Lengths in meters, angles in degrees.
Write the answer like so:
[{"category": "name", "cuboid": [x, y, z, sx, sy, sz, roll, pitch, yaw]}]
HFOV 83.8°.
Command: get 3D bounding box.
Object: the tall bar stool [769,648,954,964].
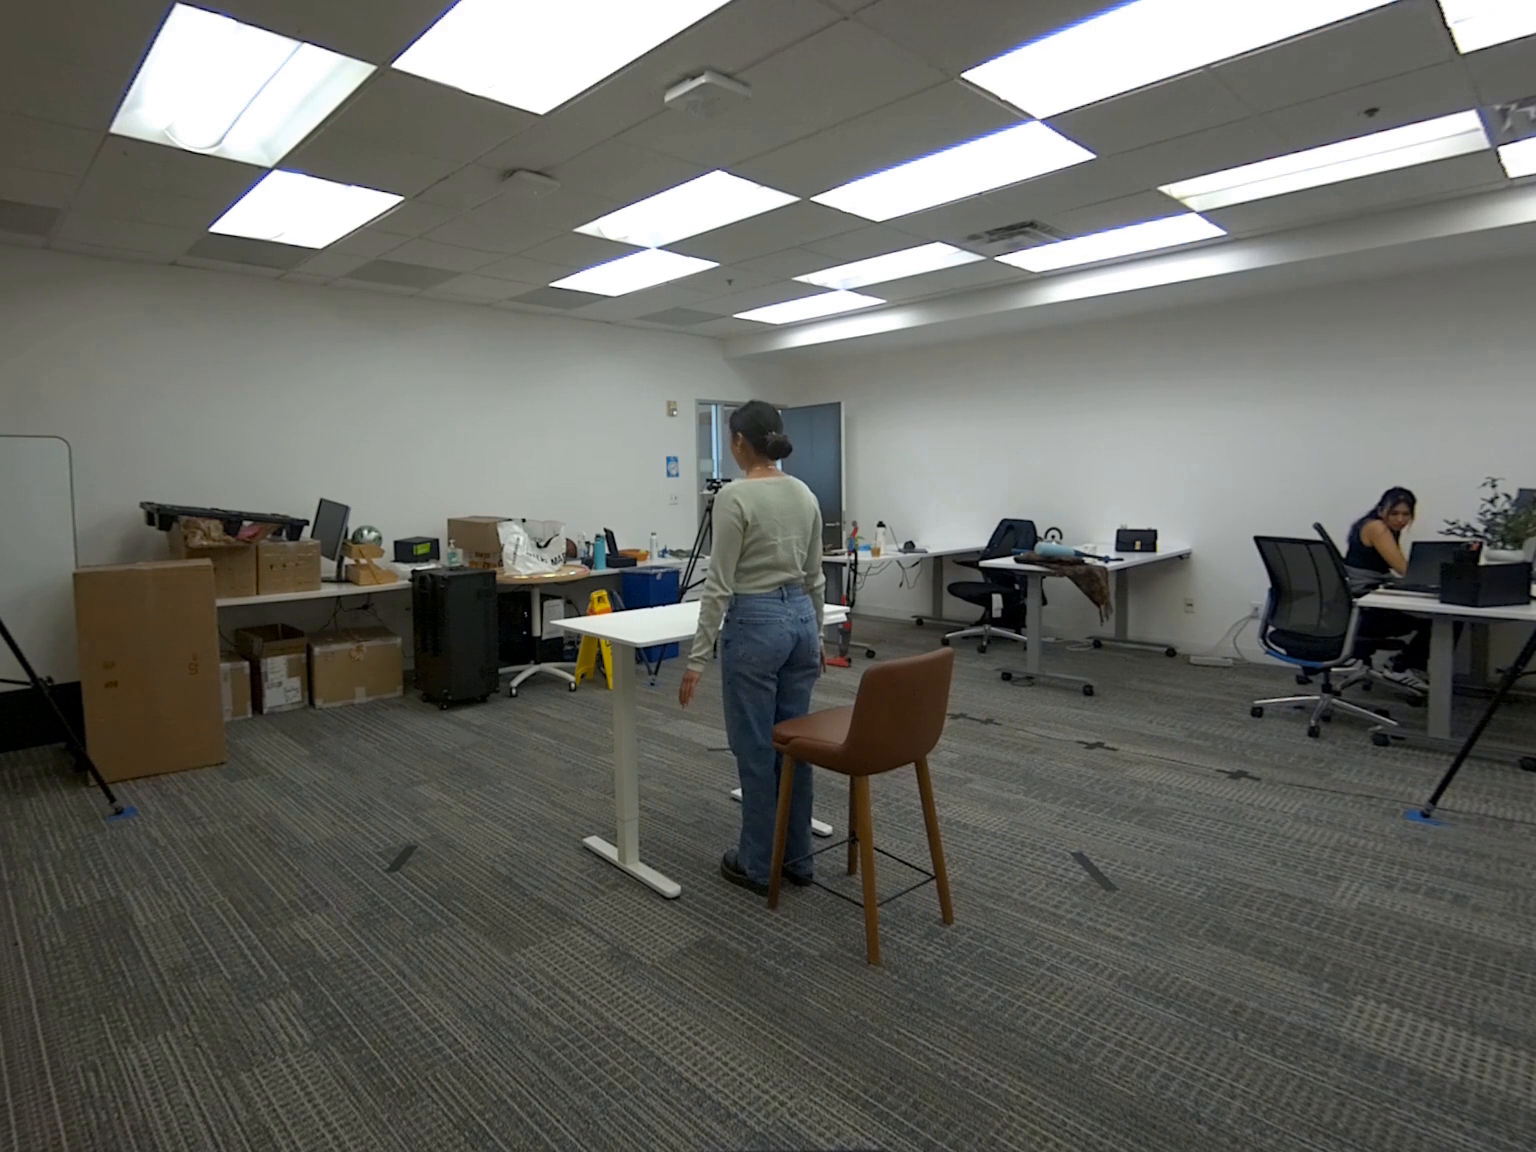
[{"category": "tall bar stool", "cuboid": [0.299, 0.646, 2.700, 0.444, 0.885, 0.482, -4, 7, -39]}]
